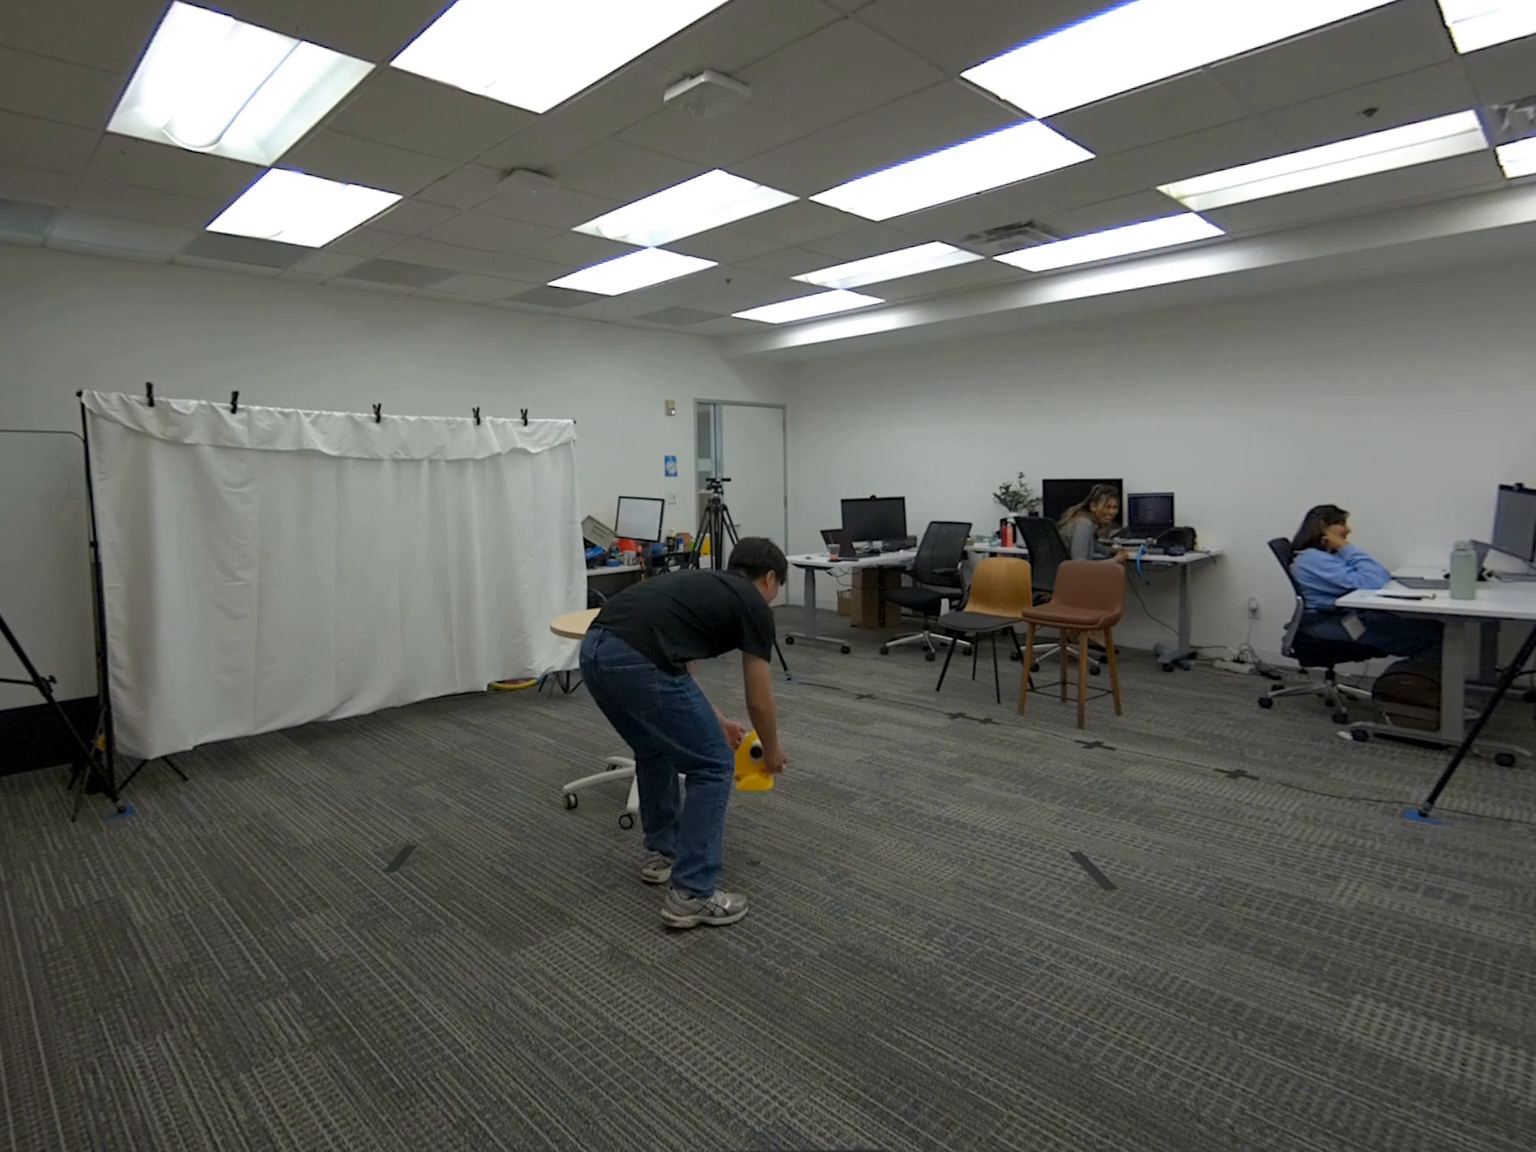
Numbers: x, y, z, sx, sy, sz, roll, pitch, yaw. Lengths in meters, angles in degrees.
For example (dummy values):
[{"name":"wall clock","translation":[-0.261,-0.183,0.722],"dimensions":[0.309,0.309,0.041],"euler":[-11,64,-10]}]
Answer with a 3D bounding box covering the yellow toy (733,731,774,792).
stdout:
[{"name":"yellow toy","translation":[-0.059,0.658,3.219],"dimensions":[0.189,0.229,0.209],"euler":[-2,6,-21]}]
